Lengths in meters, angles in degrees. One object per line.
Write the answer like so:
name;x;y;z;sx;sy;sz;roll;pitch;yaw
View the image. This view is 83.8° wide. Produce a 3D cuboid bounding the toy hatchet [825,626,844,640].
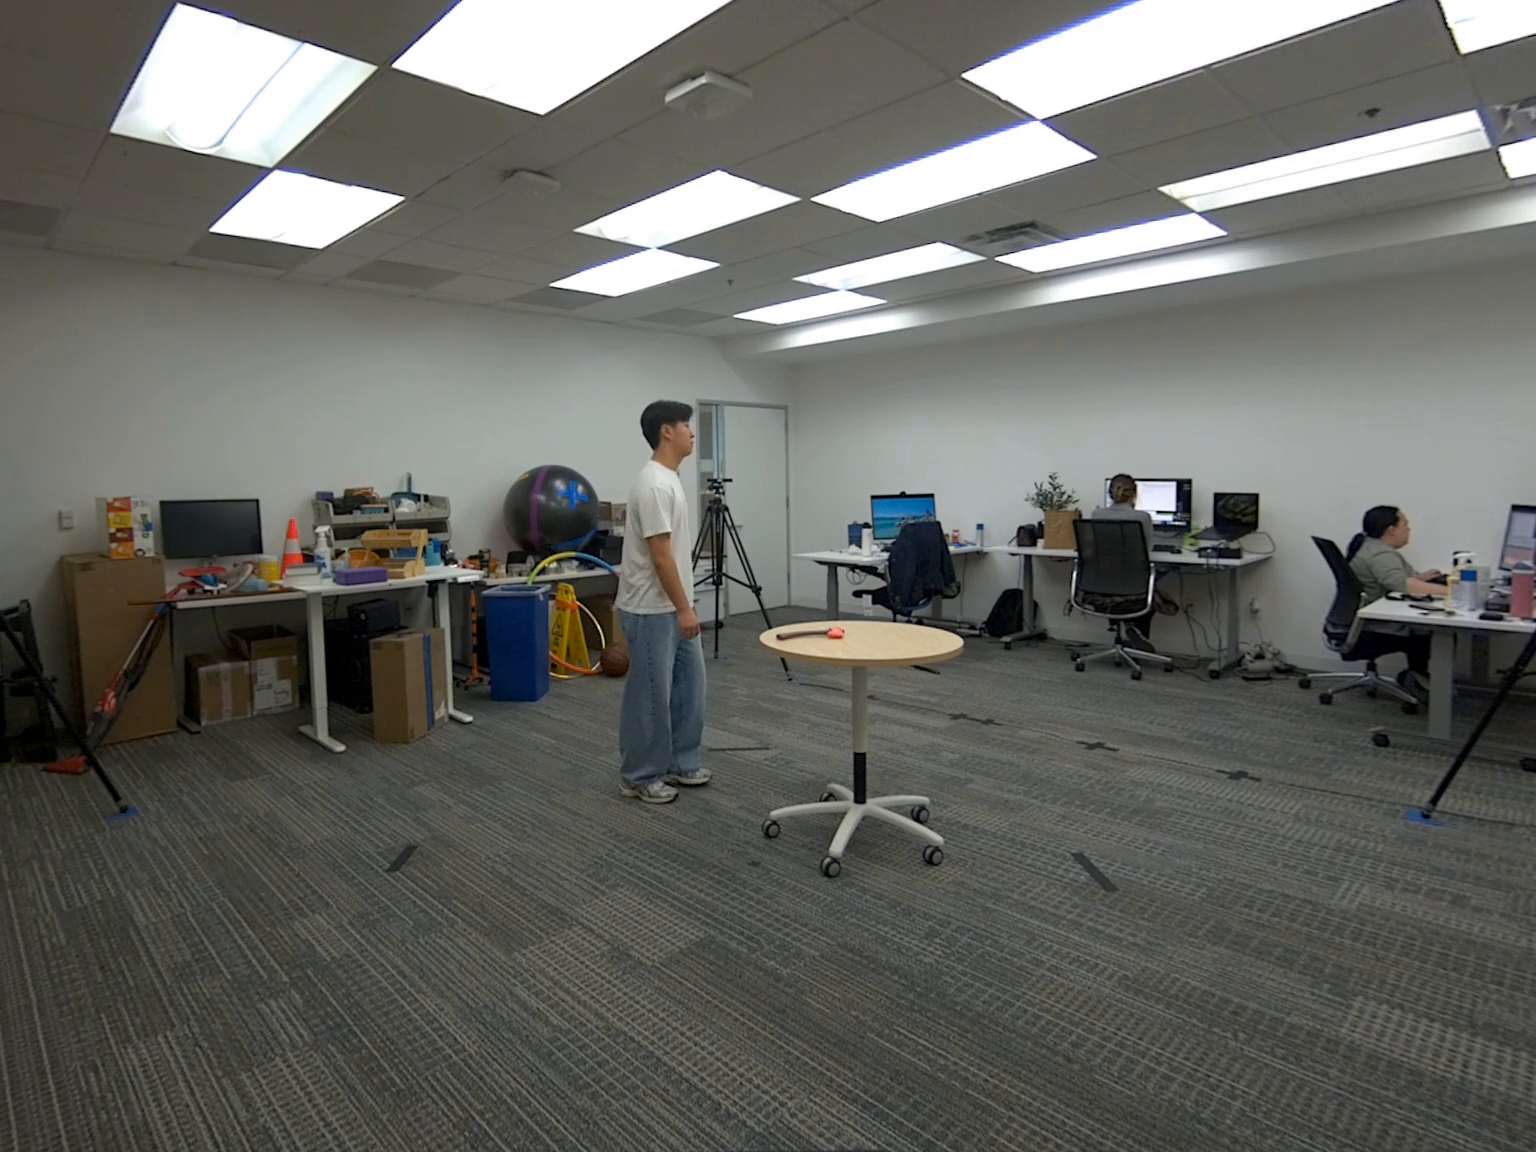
toy hatchet;0.185;0.229;3.269;0.264;0.029;0.135;-6;13;-28
